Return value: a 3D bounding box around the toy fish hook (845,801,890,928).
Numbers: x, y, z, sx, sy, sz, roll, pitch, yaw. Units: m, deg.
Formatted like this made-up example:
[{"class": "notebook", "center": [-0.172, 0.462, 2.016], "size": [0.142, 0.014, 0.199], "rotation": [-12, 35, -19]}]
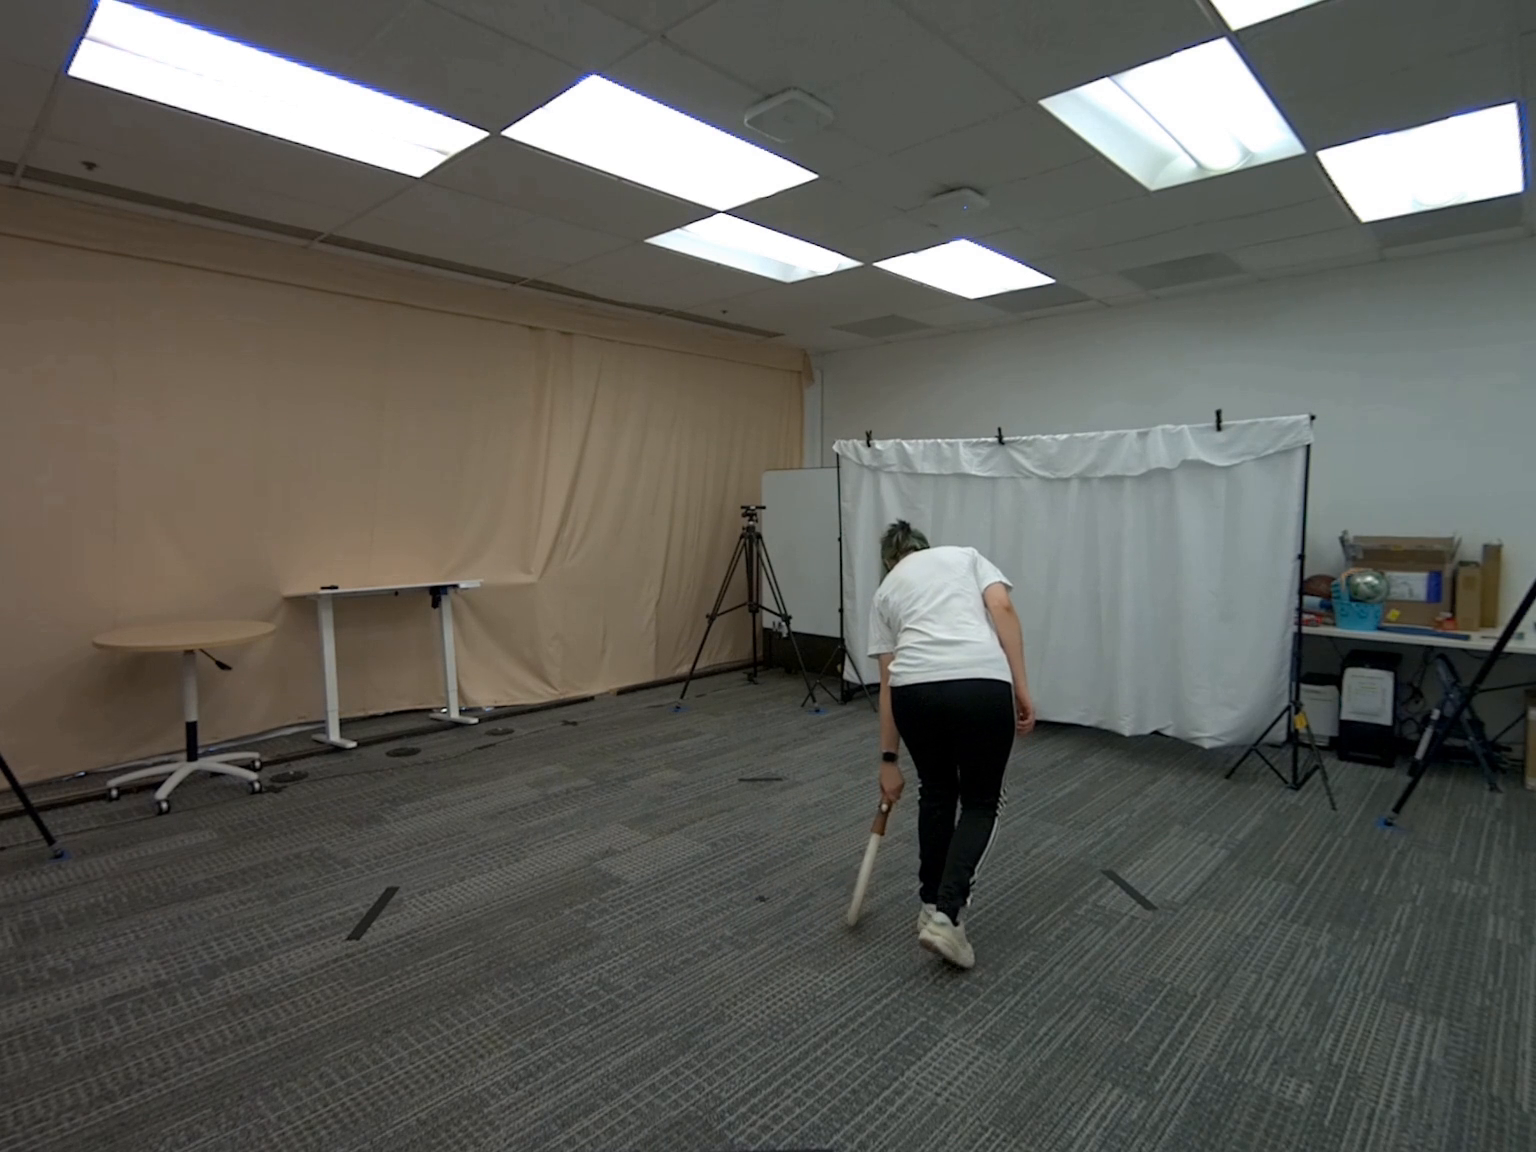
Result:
[{"class": "toy fish hook", "center": [0.358, 0.920, 2.814], "size": [0.049, 0.507, 0.221], "rotation": [21, -9, 10]}]
